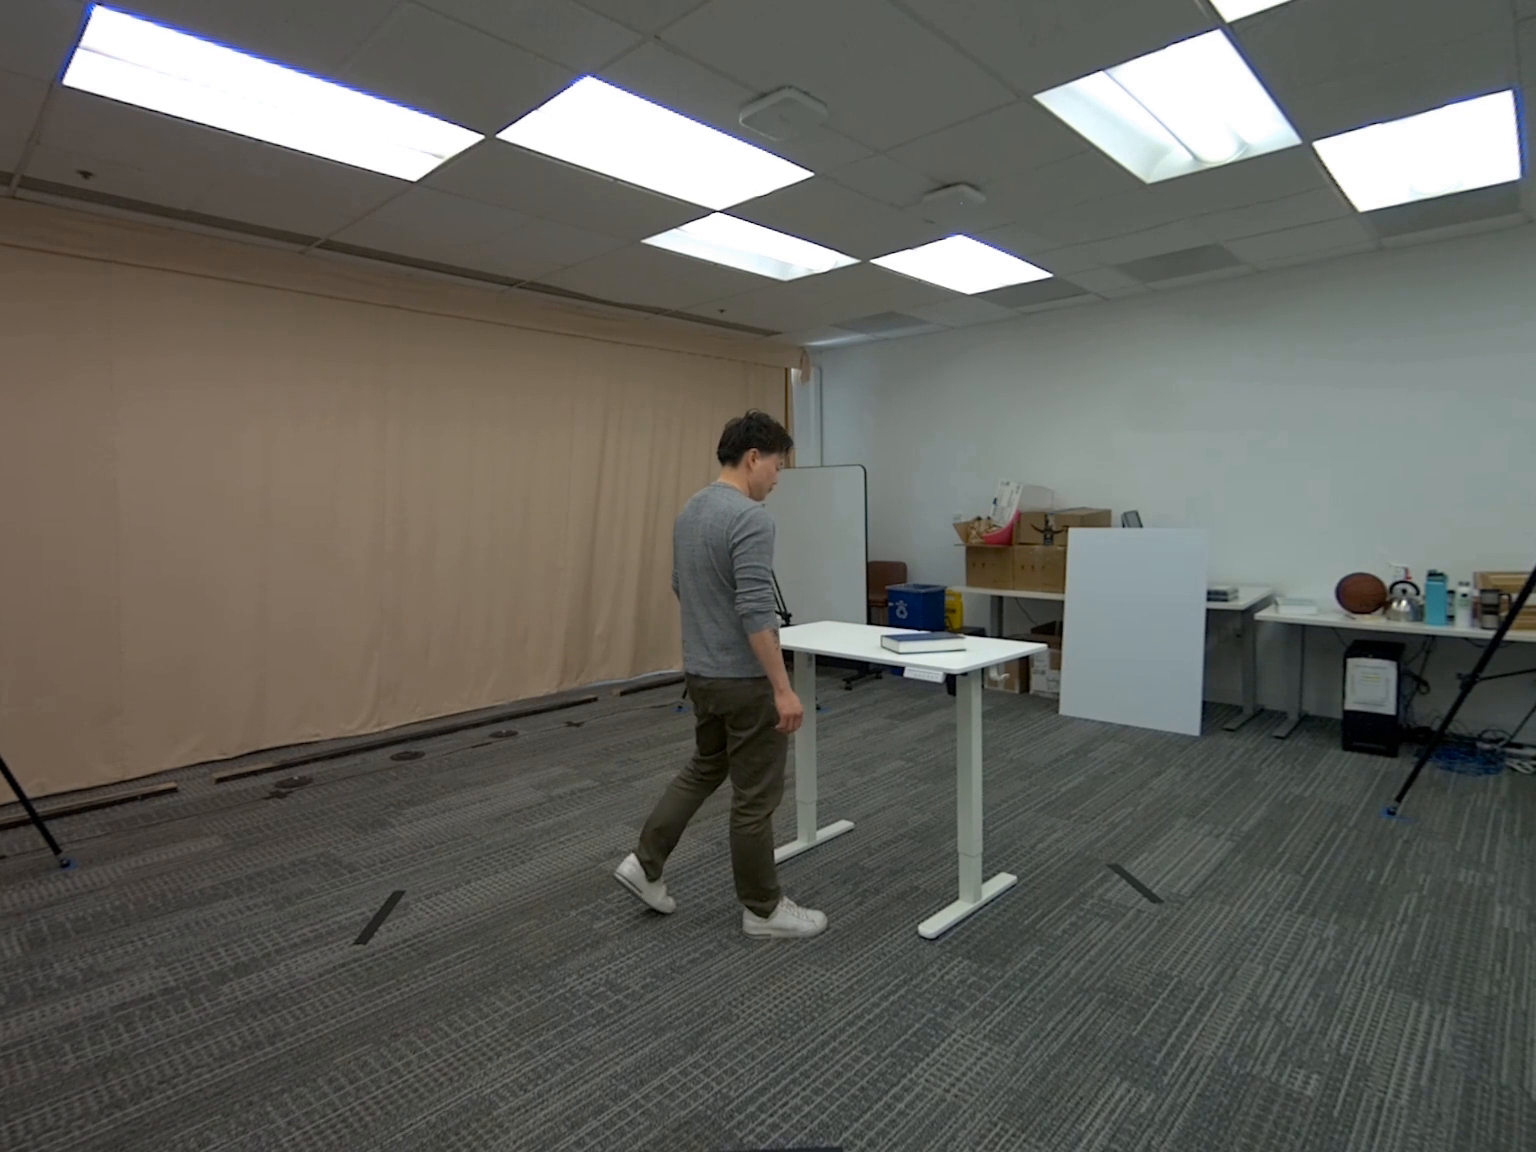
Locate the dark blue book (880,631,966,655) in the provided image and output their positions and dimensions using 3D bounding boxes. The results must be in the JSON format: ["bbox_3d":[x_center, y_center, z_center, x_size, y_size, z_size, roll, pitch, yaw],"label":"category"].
[{"bbox_3d":[0.543,0.233,2.913,0.242,0.045,0.165,0,3,-11],"label":"dark blue book"}]
